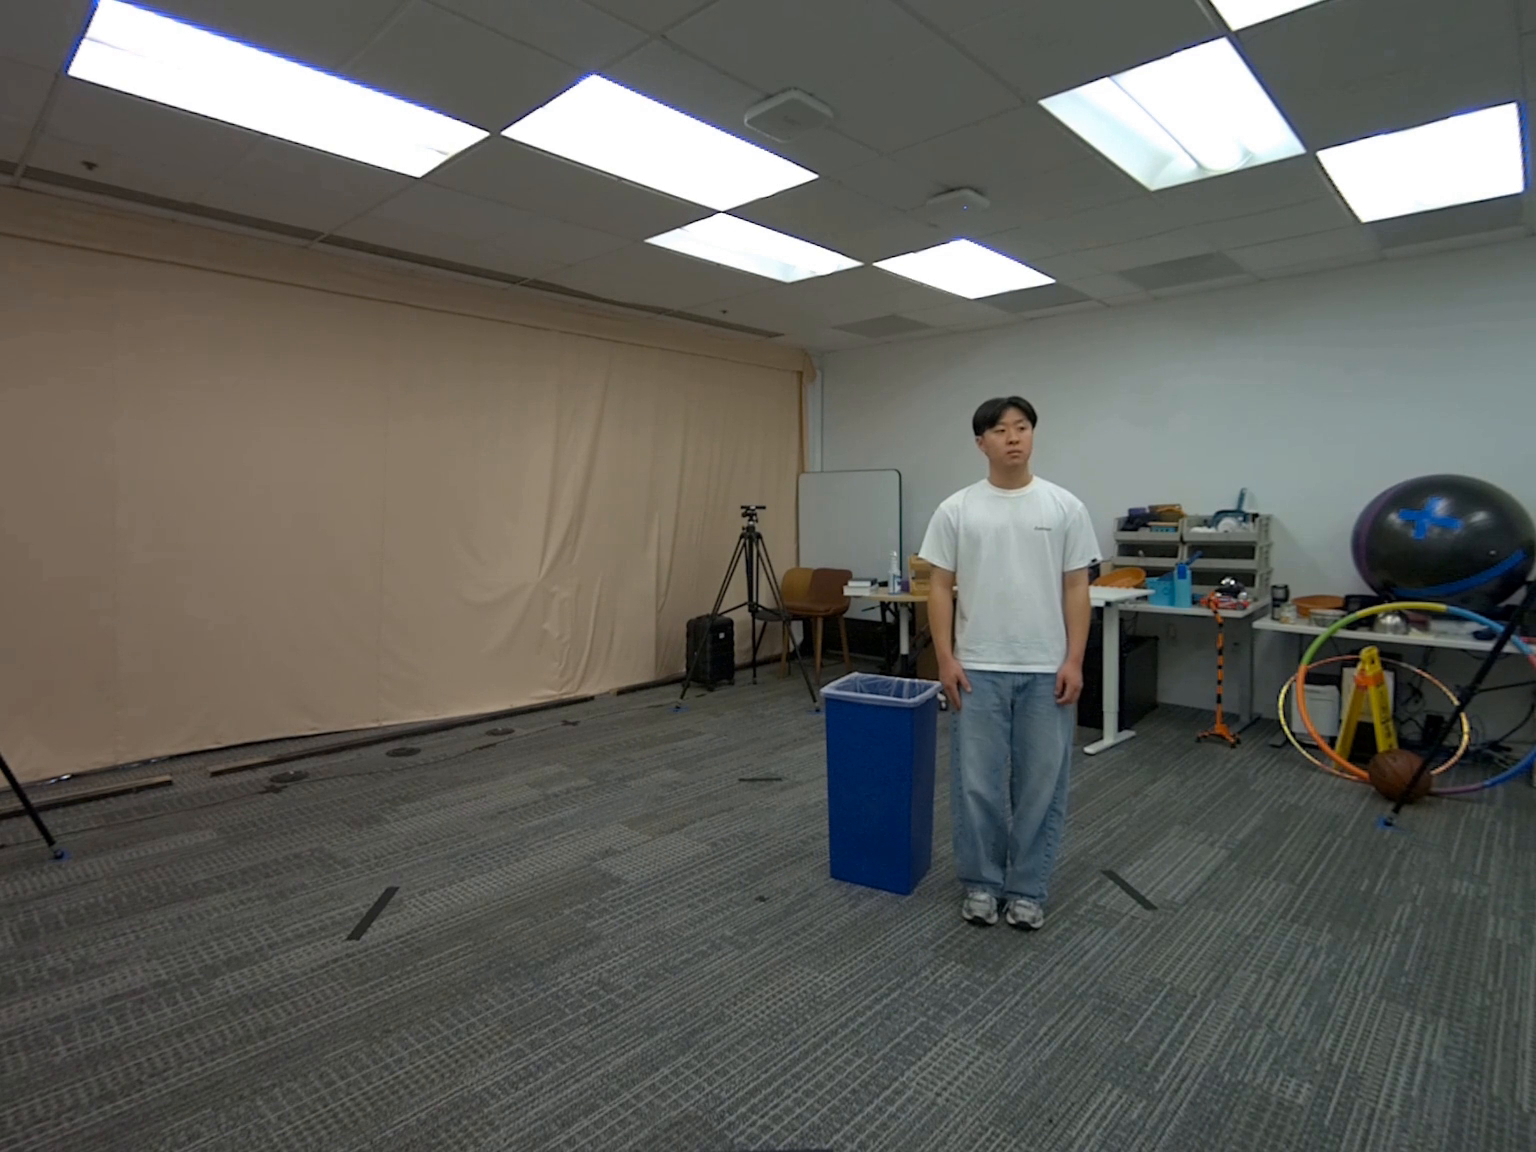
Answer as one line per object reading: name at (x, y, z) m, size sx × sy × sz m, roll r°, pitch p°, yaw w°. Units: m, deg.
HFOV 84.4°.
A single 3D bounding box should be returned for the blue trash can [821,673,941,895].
blue trash can at (0.435, 0.766, 3.175) m, size 0.388 × 0.712 × 0.364 m, roll 2°, pitch 3°, yaw 28°
